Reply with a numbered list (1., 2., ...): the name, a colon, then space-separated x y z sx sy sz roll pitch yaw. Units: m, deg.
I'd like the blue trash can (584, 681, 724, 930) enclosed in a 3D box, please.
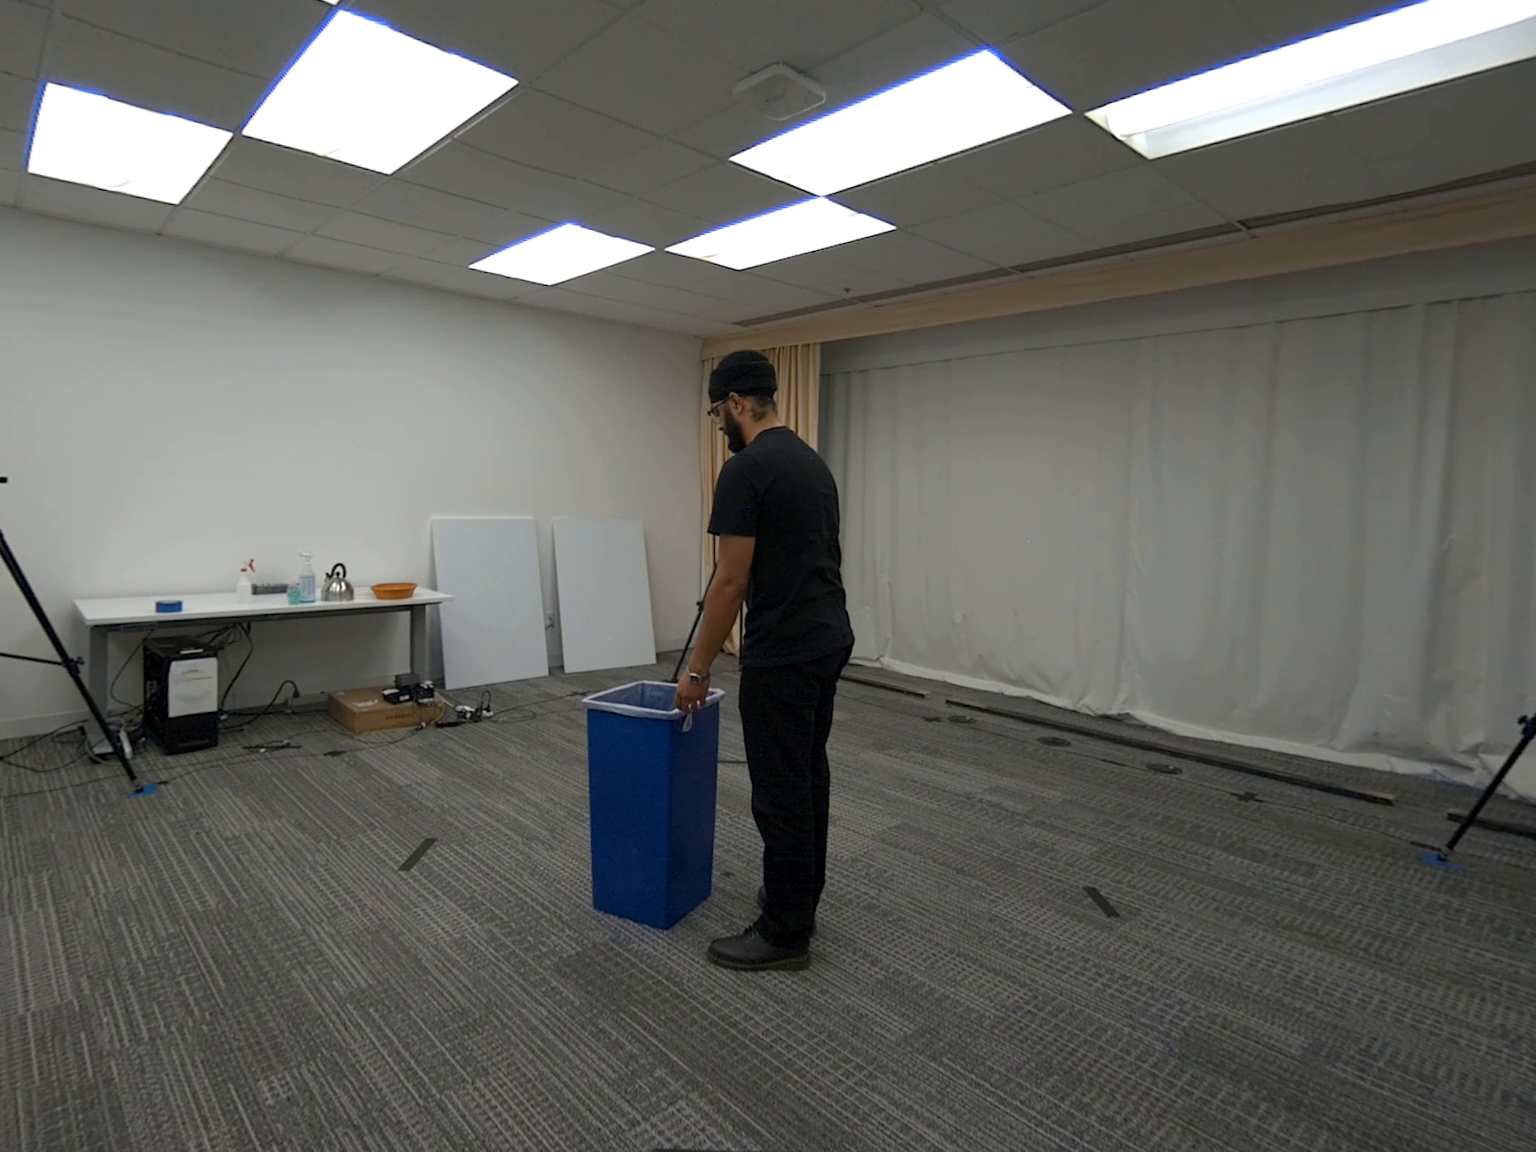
1. blue trash can: -0.387 0.761 2.875 0.381 0.712 0.371 2 3 27
